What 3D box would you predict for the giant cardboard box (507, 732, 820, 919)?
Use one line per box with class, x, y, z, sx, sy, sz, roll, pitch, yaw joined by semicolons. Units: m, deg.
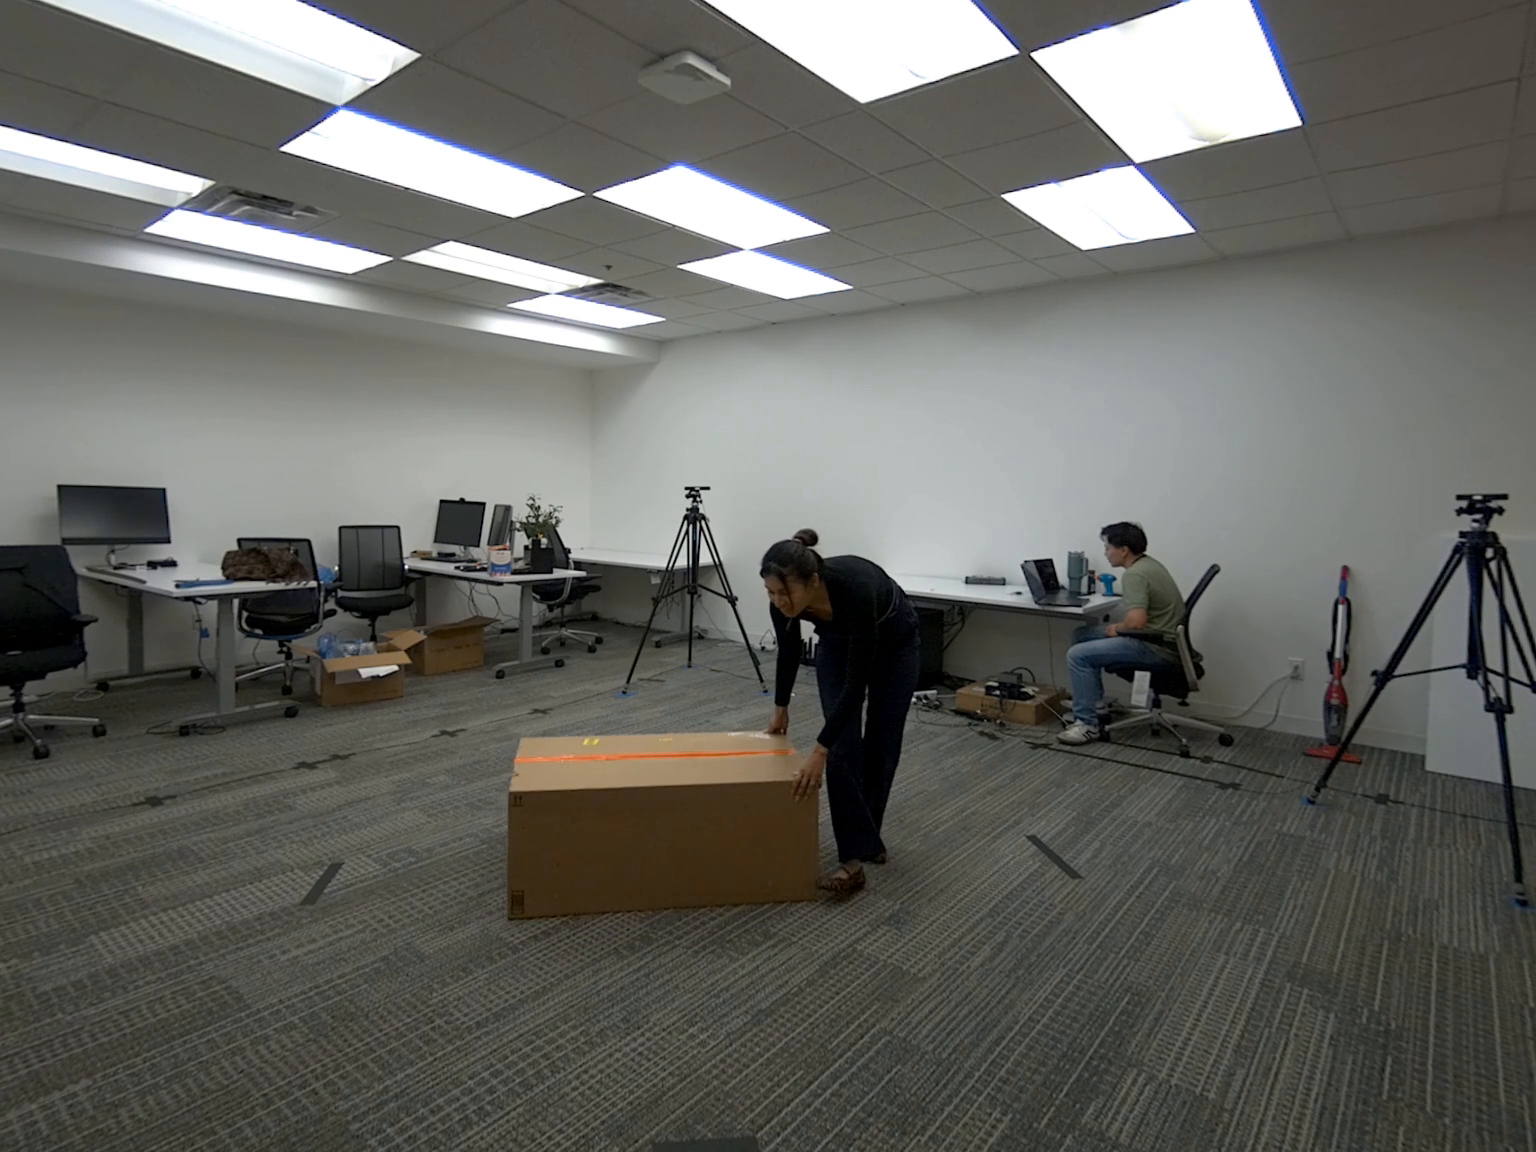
giant cardboard box;-0.403;0.853;3.056;1.015;0.425;0.586;0;4;-10
